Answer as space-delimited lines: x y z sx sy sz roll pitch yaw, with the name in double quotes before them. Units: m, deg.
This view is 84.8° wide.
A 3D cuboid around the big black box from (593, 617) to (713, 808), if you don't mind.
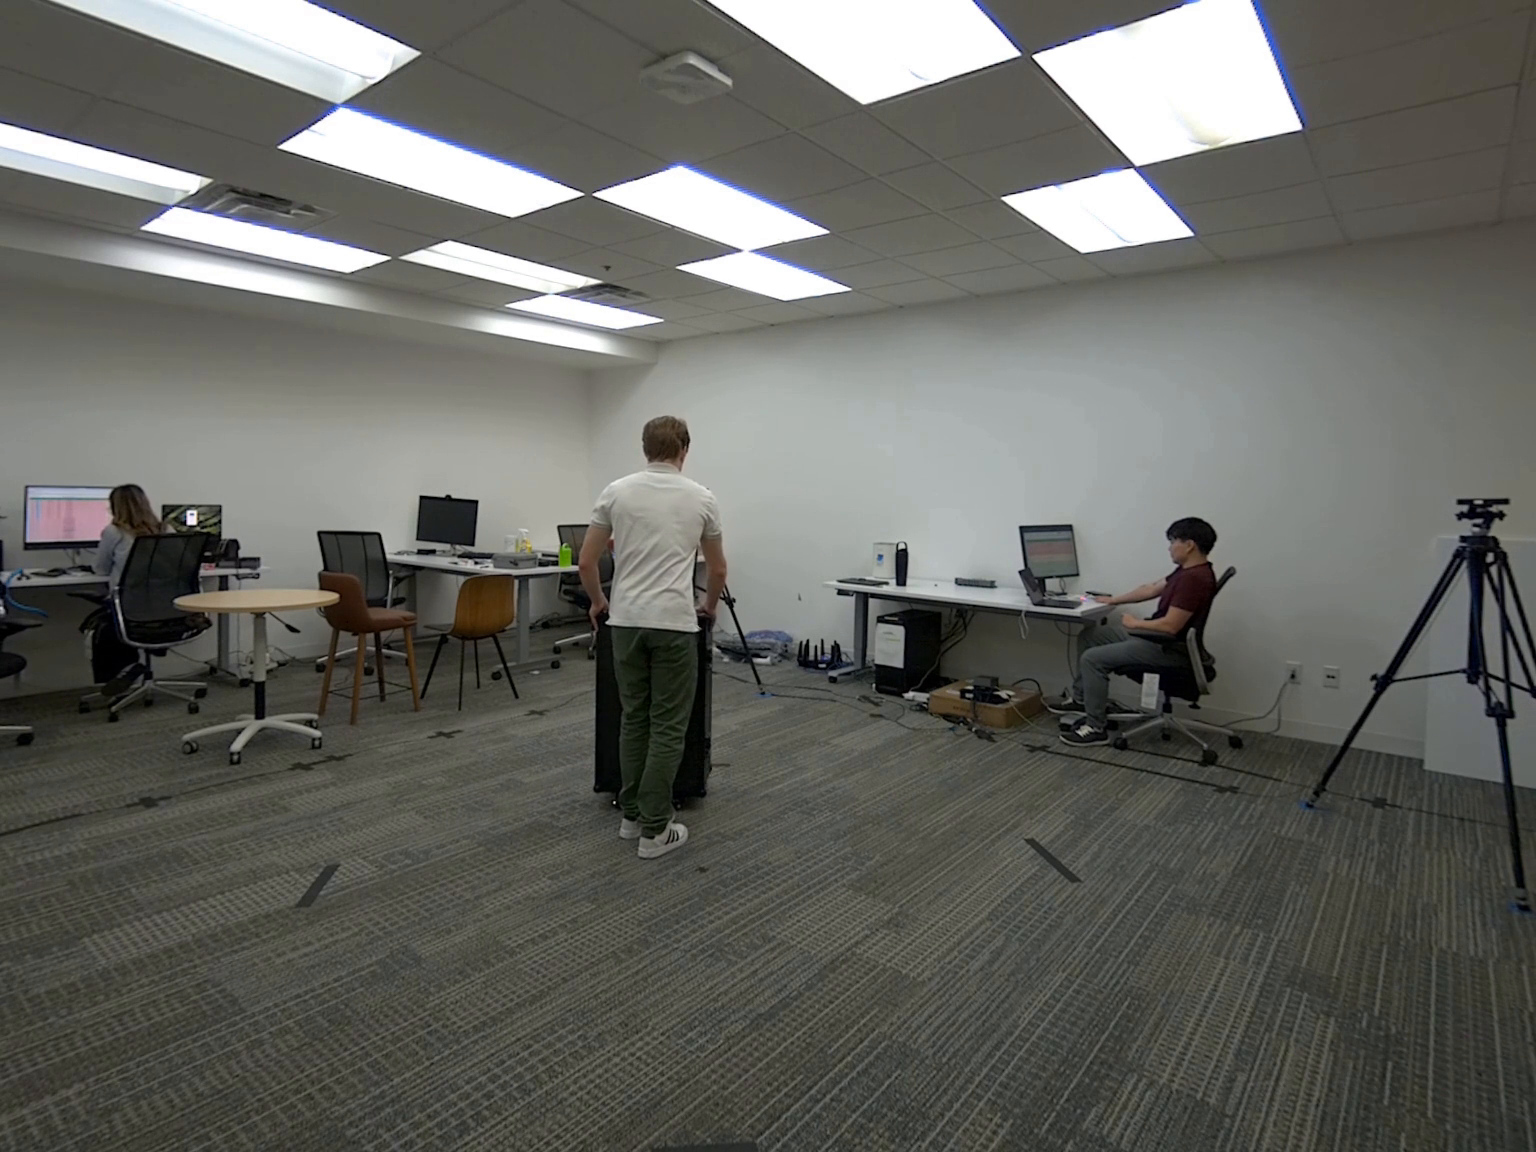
"big black box" -0.522 0.572 3.833 0.524 0.866 0.385 1 3 1
